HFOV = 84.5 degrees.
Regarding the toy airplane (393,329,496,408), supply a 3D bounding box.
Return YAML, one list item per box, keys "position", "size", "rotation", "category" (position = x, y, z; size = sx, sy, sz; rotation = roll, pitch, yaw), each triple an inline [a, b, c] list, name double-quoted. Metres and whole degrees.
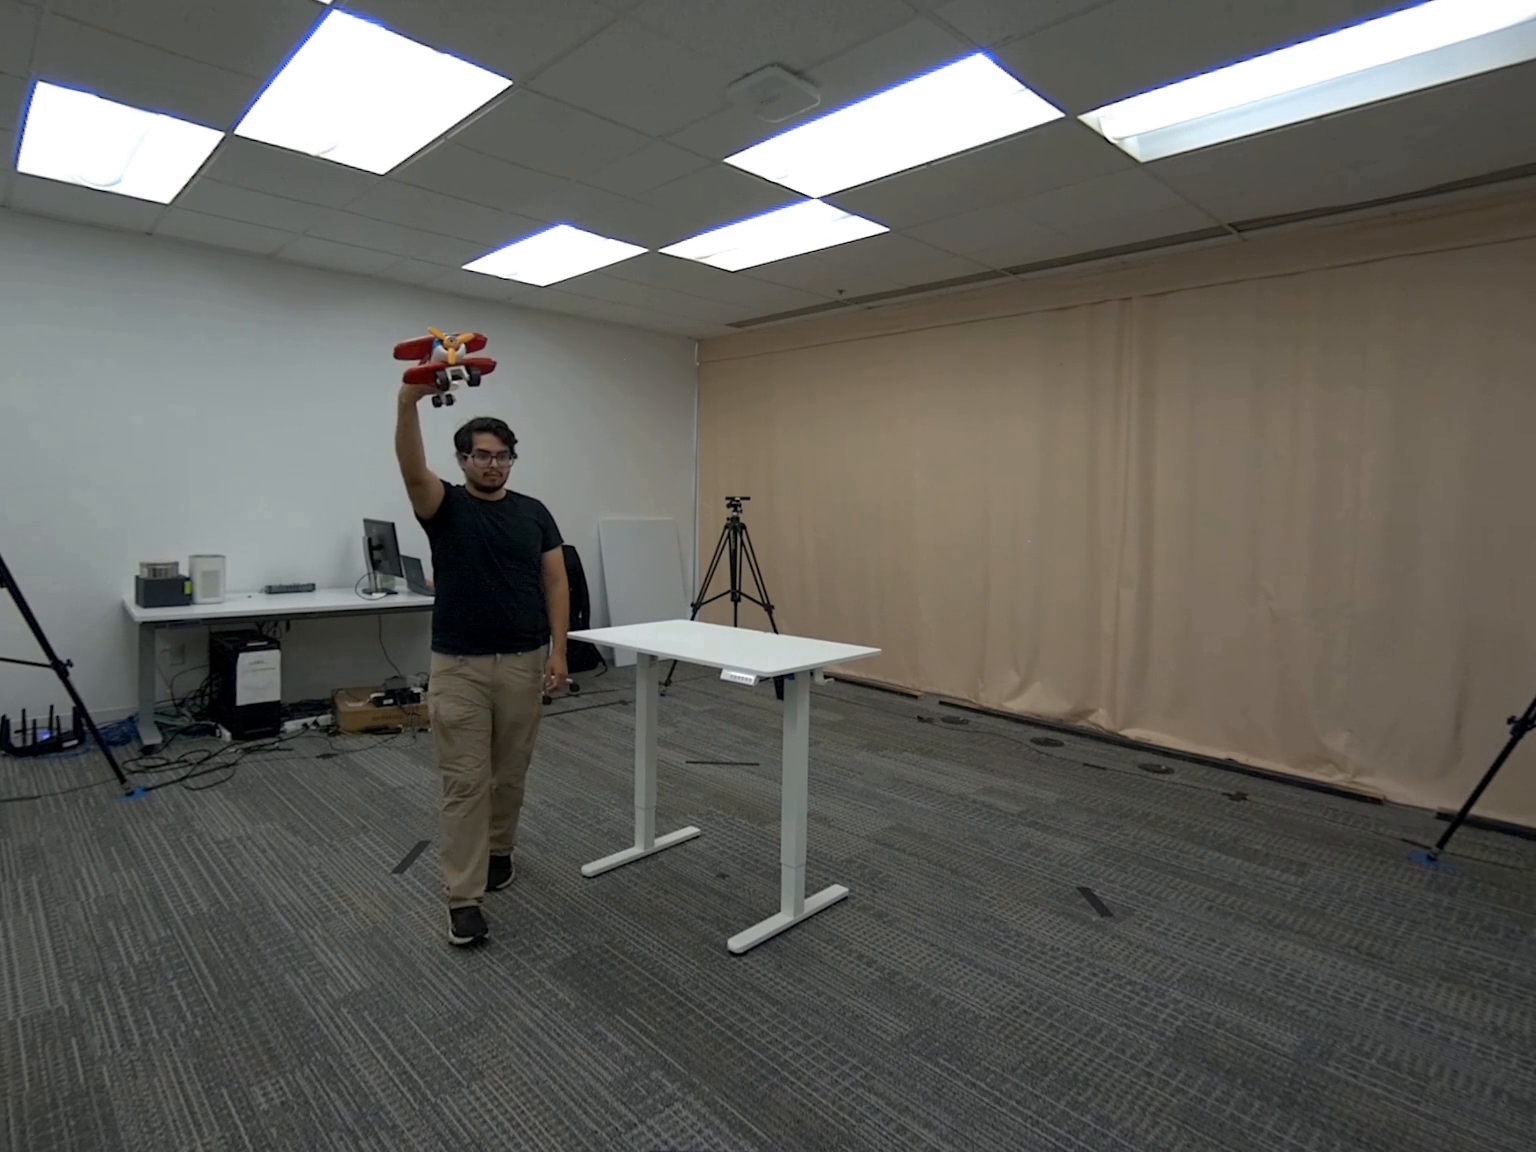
- position: [-0.914, -0.568, 2.304]
  size: [0.263, 0.156, 0.248]
  rotation: [-14, 3, 28]
  category: "toy airplane"
